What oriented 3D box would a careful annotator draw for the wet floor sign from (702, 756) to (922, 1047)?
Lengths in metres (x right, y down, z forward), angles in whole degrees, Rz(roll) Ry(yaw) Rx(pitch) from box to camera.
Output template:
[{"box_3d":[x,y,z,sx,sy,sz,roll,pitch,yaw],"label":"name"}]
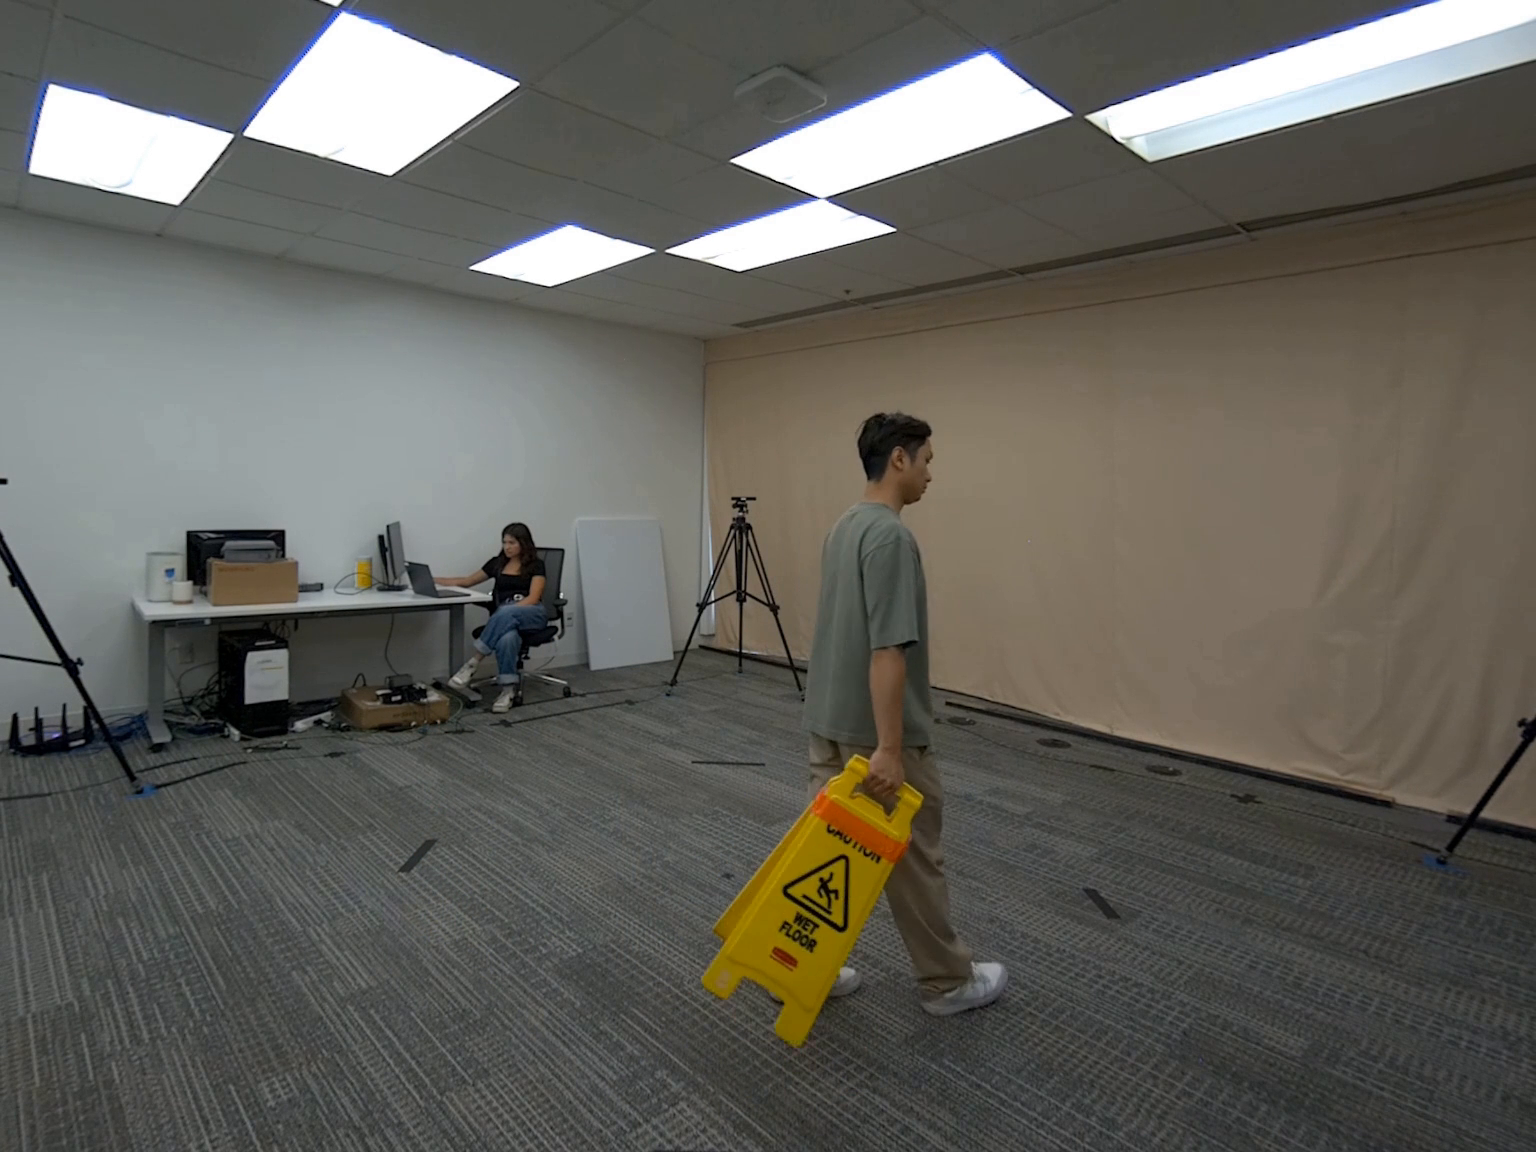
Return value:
[{"box_3d":[0.138,0.765,2.079,0.283,0.645,0.289,31,6,2],"label":"wet floor sign"}]
